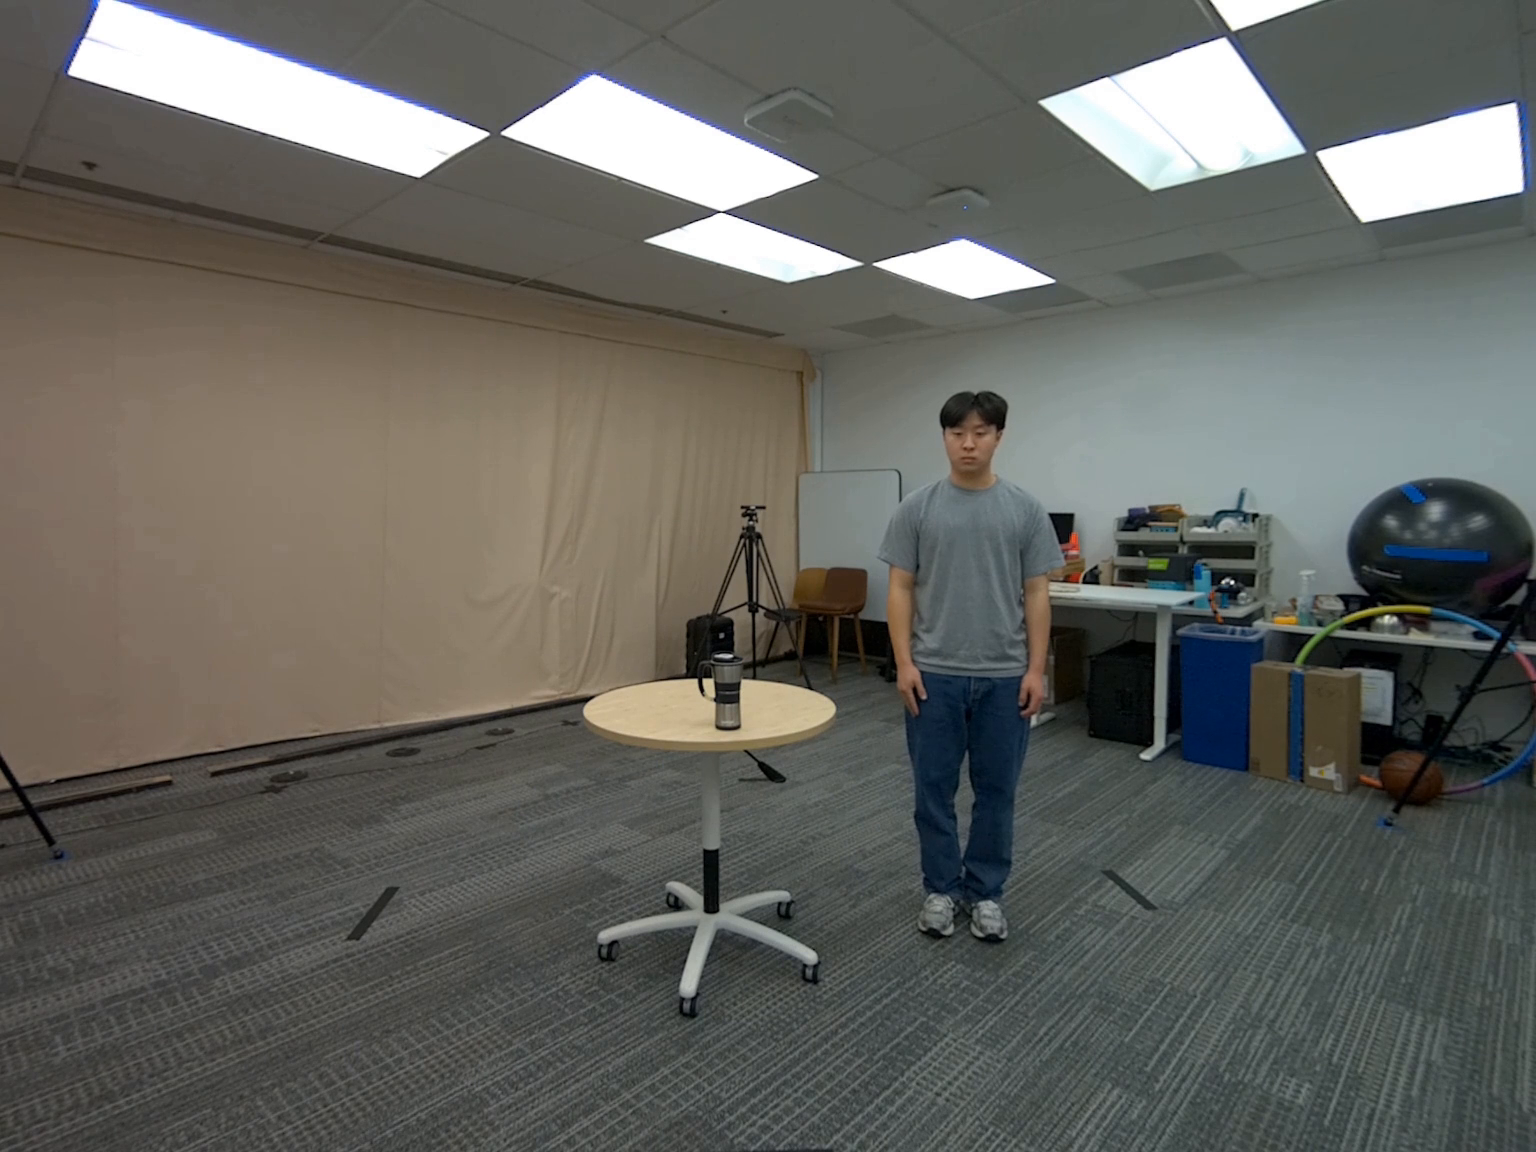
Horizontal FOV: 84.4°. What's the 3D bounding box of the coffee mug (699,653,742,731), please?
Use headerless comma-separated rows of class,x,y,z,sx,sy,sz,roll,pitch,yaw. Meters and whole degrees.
coffee mug,-0.126,0.318,2.330,0.125,0.202,0.086,5,7,27
